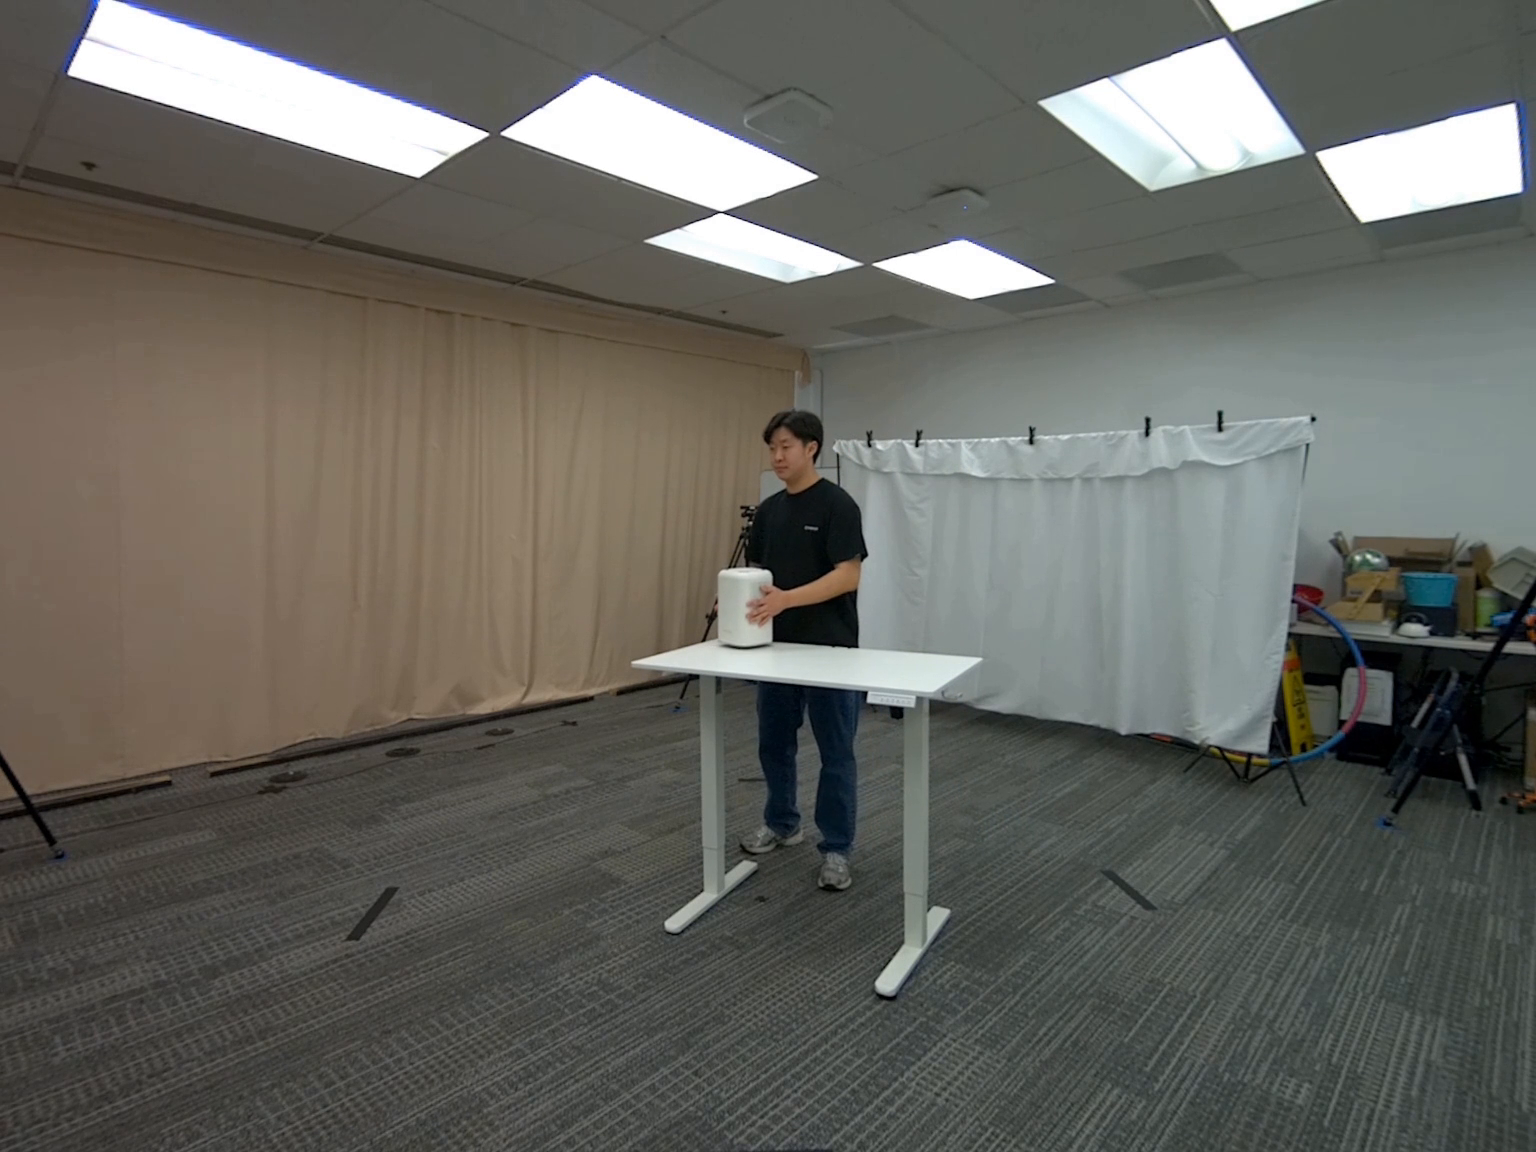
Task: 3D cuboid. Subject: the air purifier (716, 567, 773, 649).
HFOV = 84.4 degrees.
[{"bbox_3d":[-0.076,0.109,3.073,0.177,0.264,0.166,5,6,45],"label":"air purifier"}]
